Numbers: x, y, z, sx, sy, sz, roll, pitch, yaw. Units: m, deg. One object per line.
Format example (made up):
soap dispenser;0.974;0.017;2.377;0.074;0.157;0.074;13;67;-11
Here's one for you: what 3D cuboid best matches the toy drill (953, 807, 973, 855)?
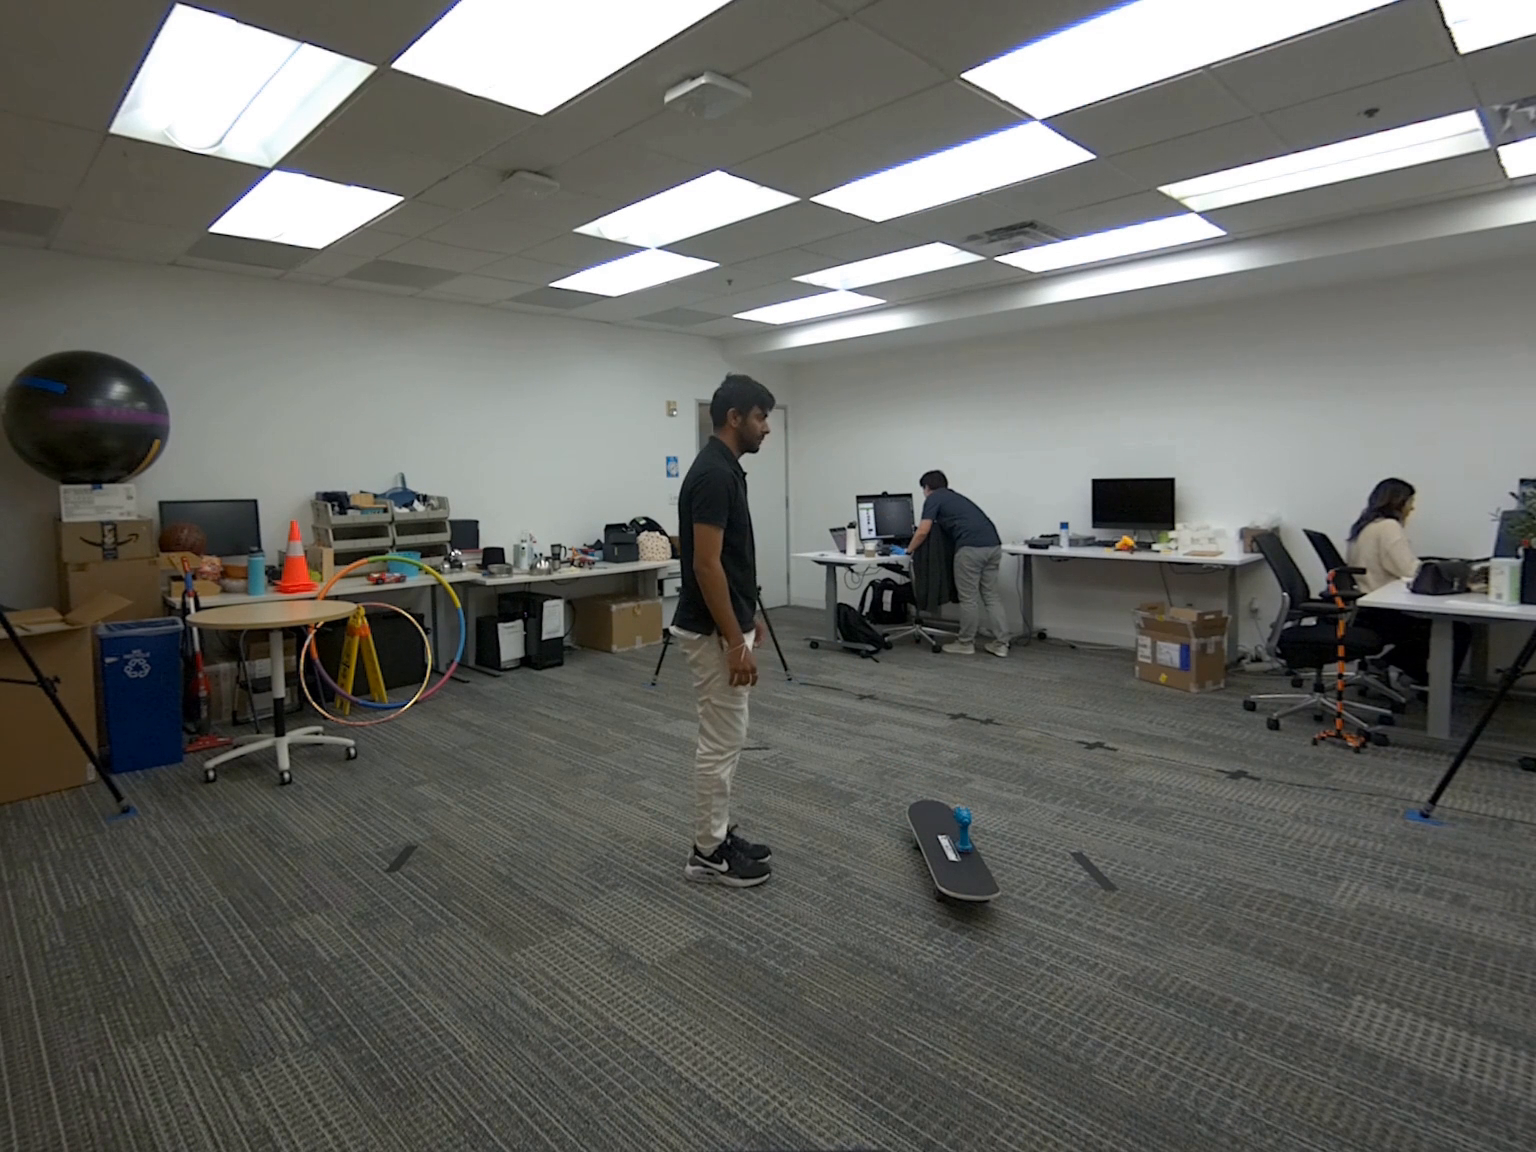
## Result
toy drill;0.680;0.872;3.020;0.061;0.145;0.170;-3;4;2
